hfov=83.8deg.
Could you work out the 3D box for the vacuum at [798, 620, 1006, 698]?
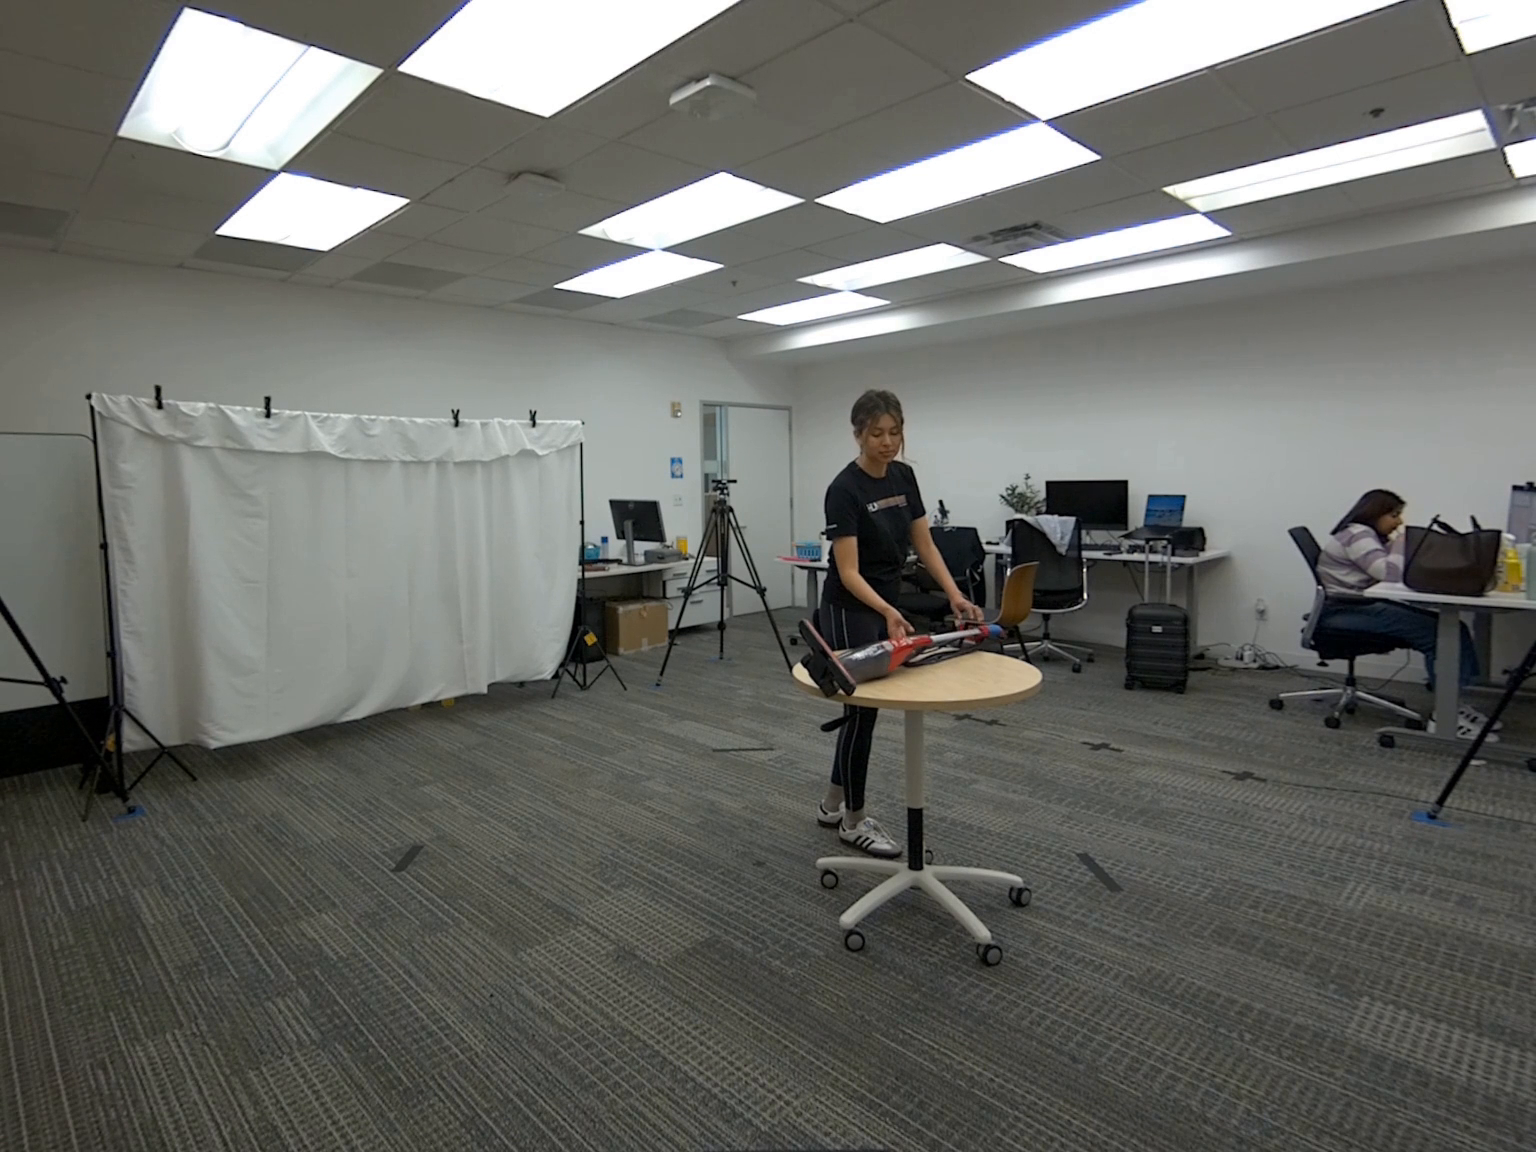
[{"bbox_3d":[0.501,0.249,2.765,1.019,0.143,0.261,-2,45,-44],"label":"vacuum"}]
